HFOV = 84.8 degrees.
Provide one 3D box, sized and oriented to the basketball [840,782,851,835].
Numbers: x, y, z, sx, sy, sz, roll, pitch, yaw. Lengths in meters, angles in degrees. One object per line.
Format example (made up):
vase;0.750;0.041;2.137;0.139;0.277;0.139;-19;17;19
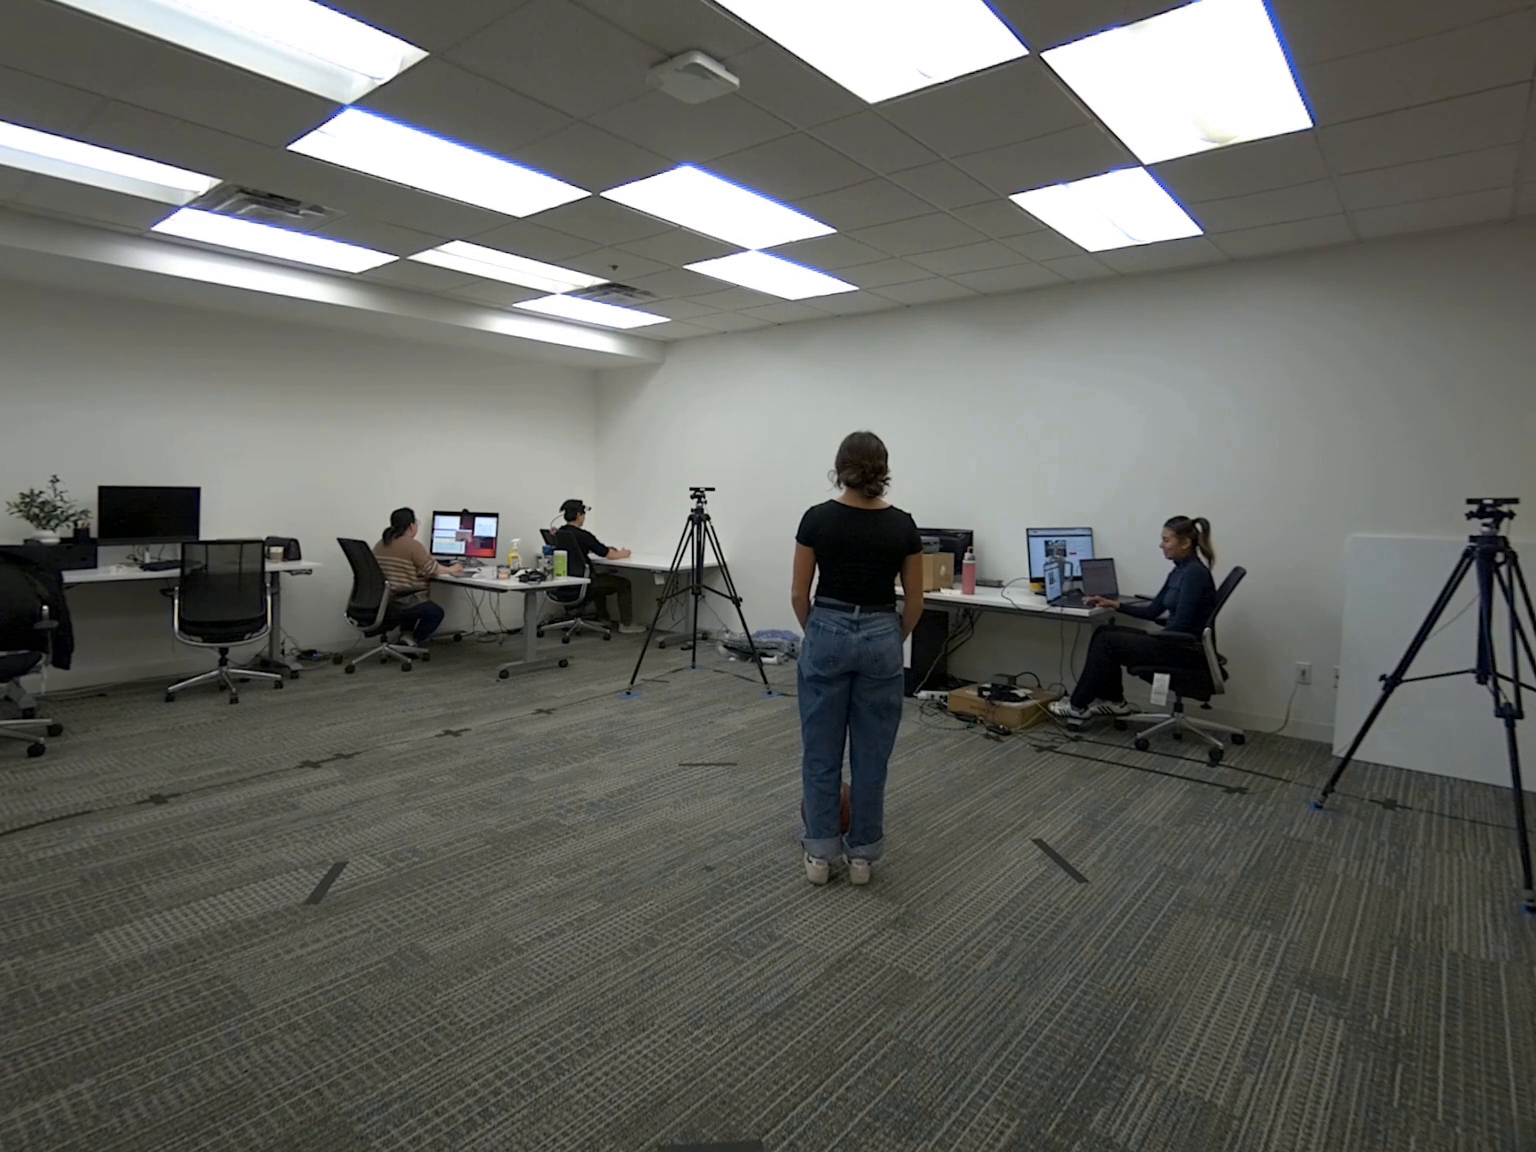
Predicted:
basketball;0.247;0.920;3.394;0.235;0.235;0.237;1;4;-2
